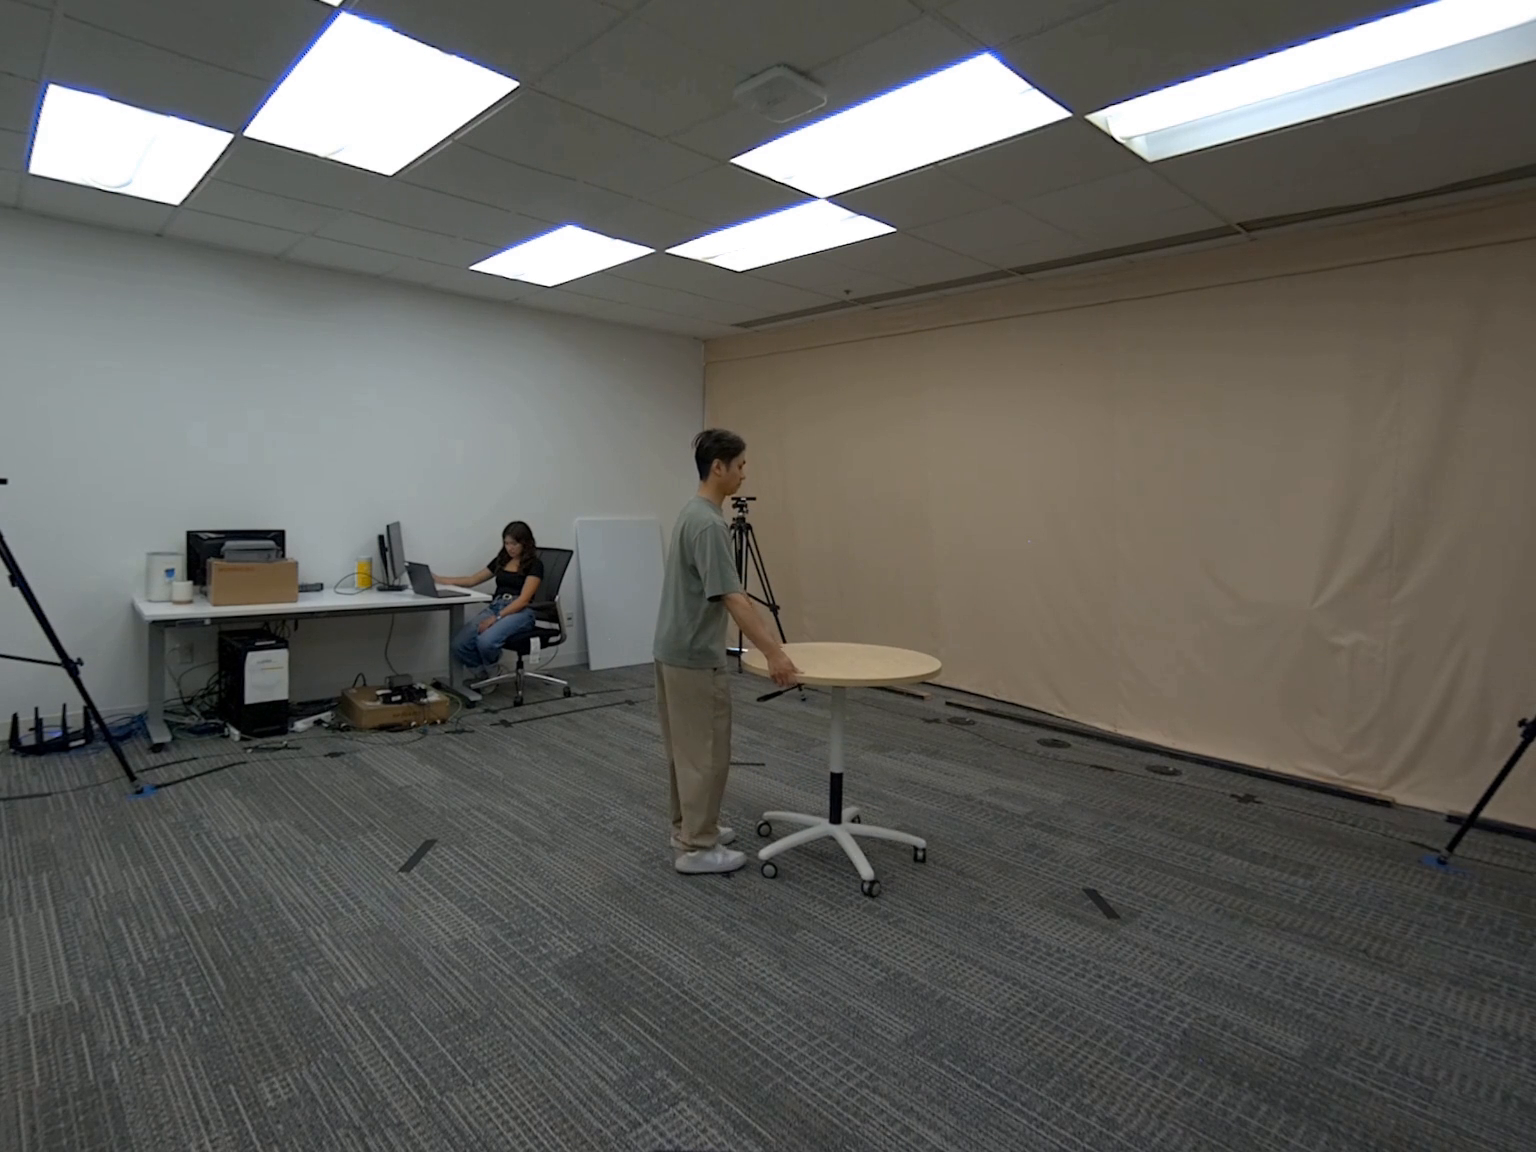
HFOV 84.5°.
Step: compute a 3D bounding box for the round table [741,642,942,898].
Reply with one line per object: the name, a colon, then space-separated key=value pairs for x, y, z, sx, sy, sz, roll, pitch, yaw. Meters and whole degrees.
round table: x=0.271 y=0.707 z=3.264 sx=0.784 sy=0.785 sz=0.787 roll=1 pitch=3 yaw=-1
